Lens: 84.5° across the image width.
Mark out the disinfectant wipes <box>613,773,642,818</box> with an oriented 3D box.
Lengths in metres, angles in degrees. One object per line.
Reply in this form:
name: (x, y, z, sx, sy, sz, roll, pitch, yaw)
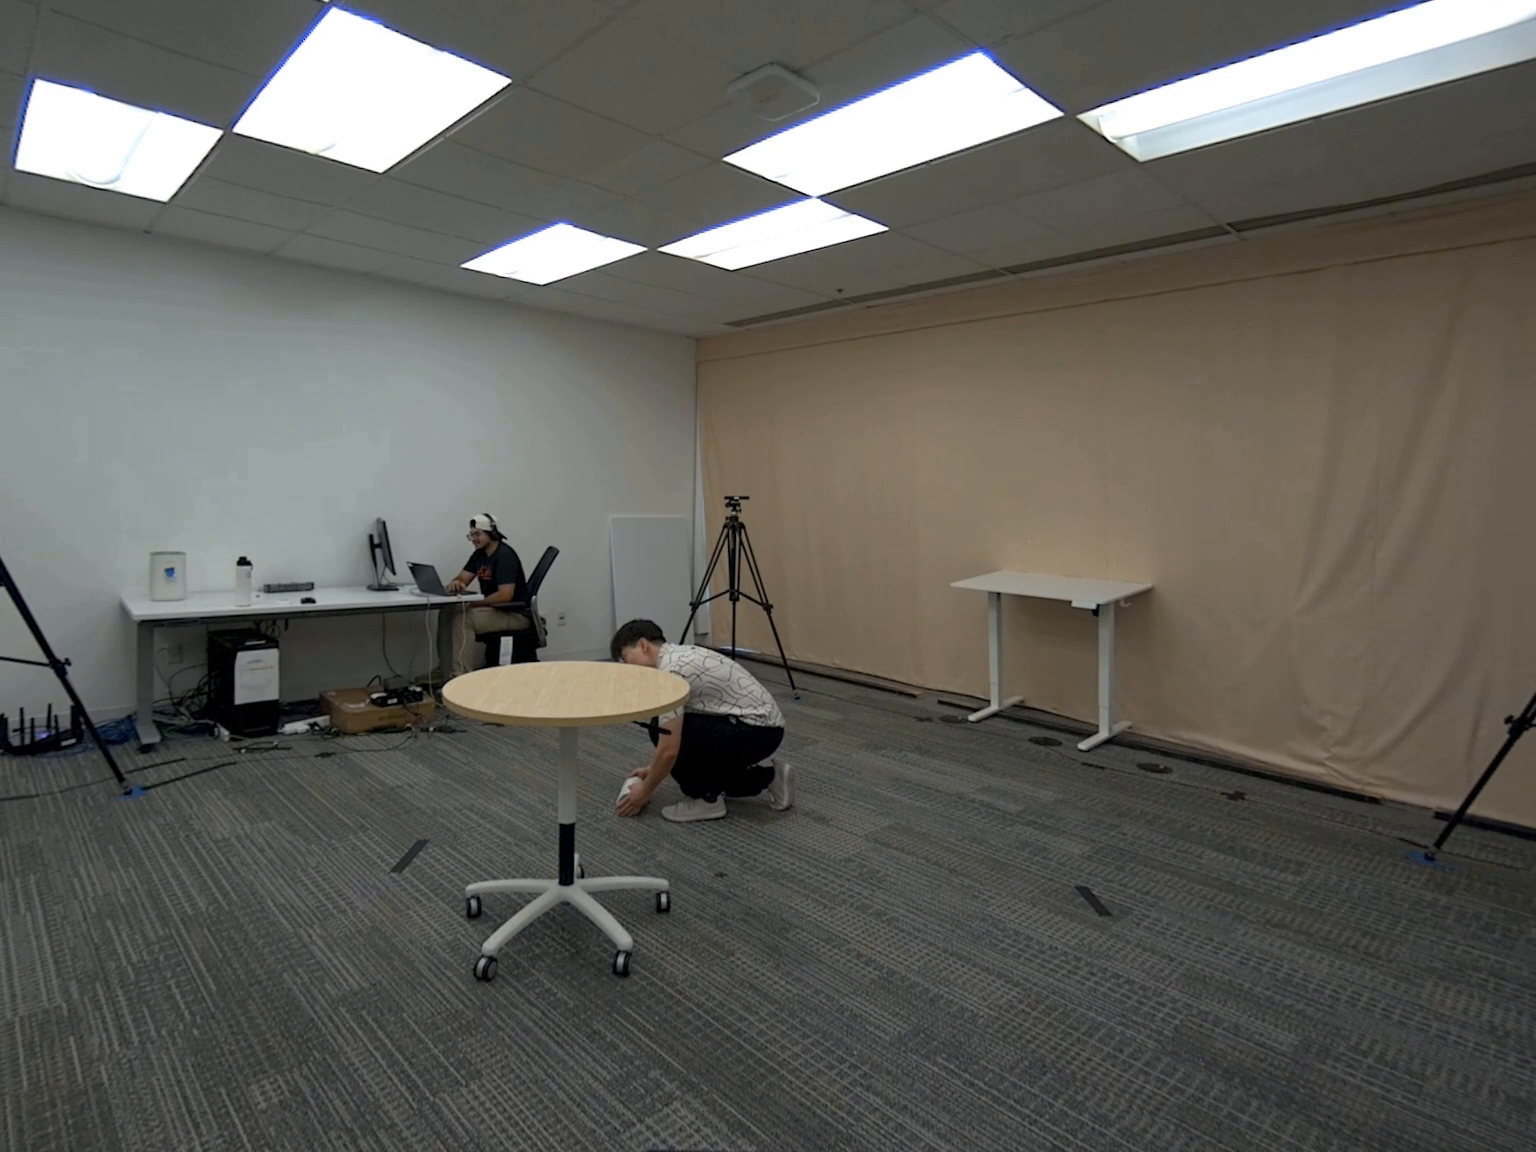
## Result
disinfectant wipes: (-0.619, 0.972, 3.759, 0.117, 0.117, 0.219, 1, 5, -4)
